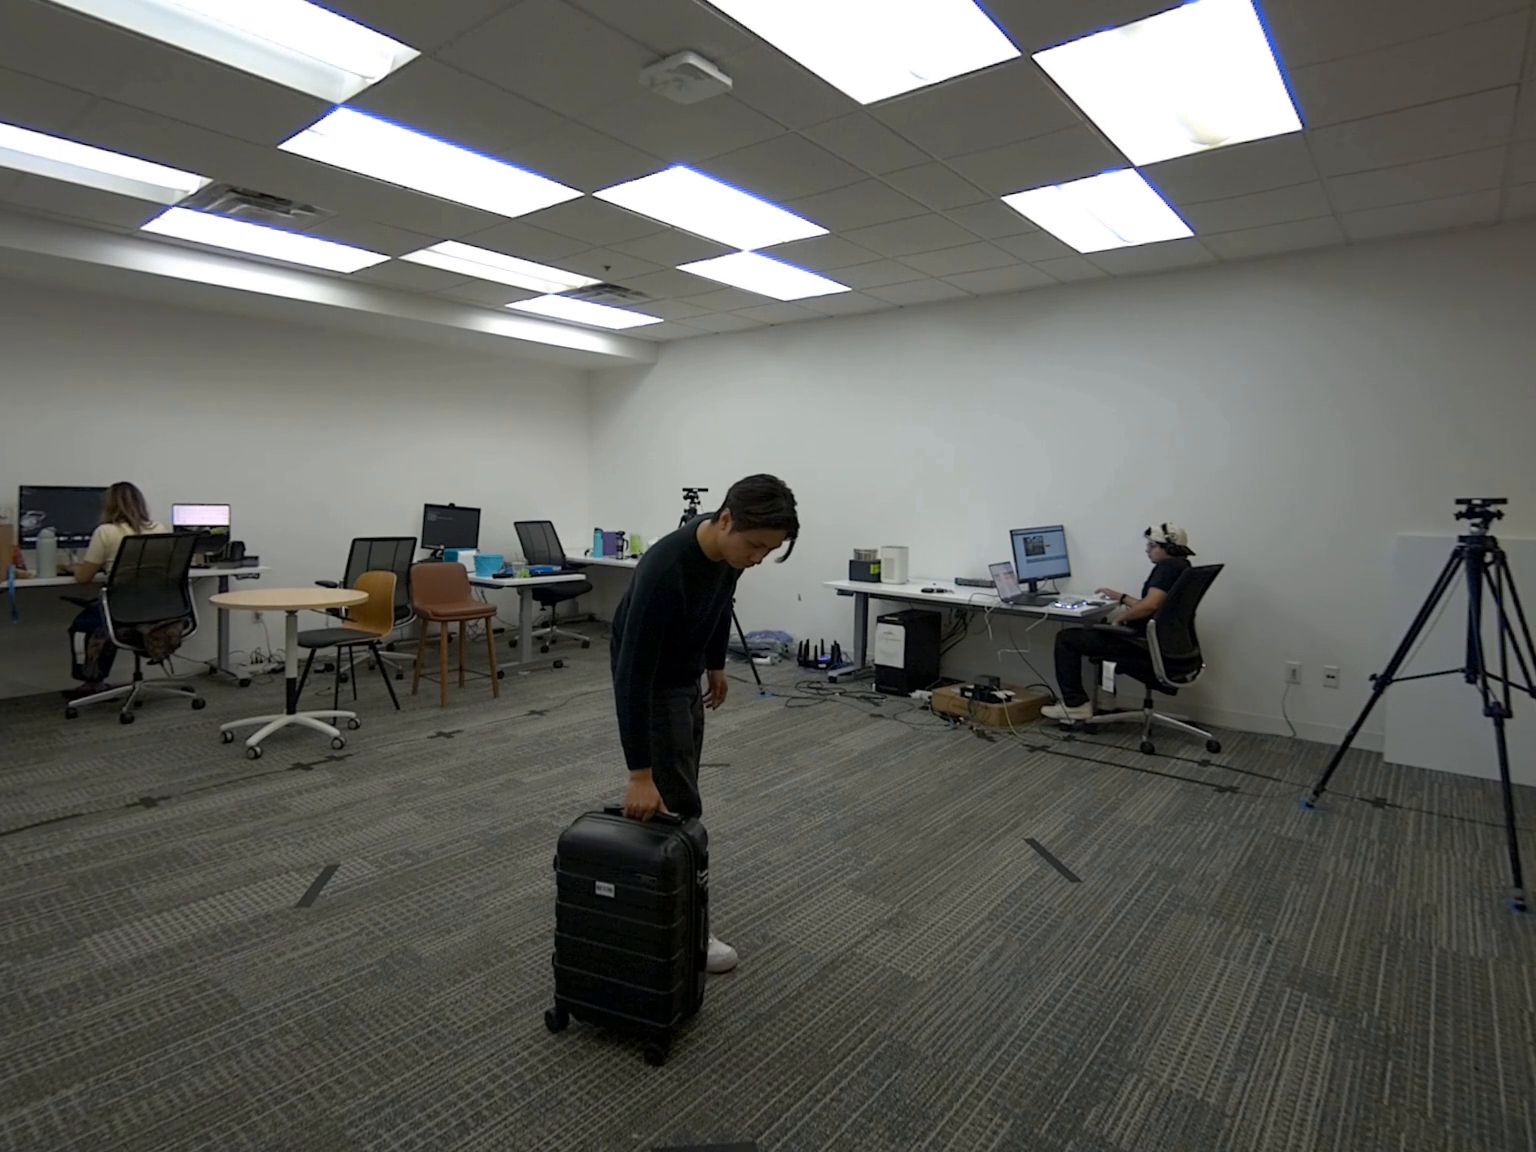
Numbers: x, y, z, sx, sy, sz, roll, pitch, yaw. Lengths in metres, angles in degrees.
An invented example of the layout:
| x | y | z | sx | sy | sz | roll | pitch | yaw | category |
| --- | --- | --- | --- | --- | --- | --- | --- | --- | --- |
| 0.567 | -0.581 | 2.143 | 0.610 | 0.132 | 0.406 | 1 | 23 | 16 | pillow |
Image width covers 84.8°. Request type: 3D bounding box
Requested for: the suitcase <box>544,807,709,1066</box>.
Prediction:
| x | y | z | sx | sy | sz | roll | pitch | yaw | category |
| --- | --- | --- | --- | --- | --- | --- | --- | --- | --- |
| -0.356 | 0.884 | 2.189 | 0.384 | 0.547 | 0.244 | 4 | 5 | 21 | suitcase |
